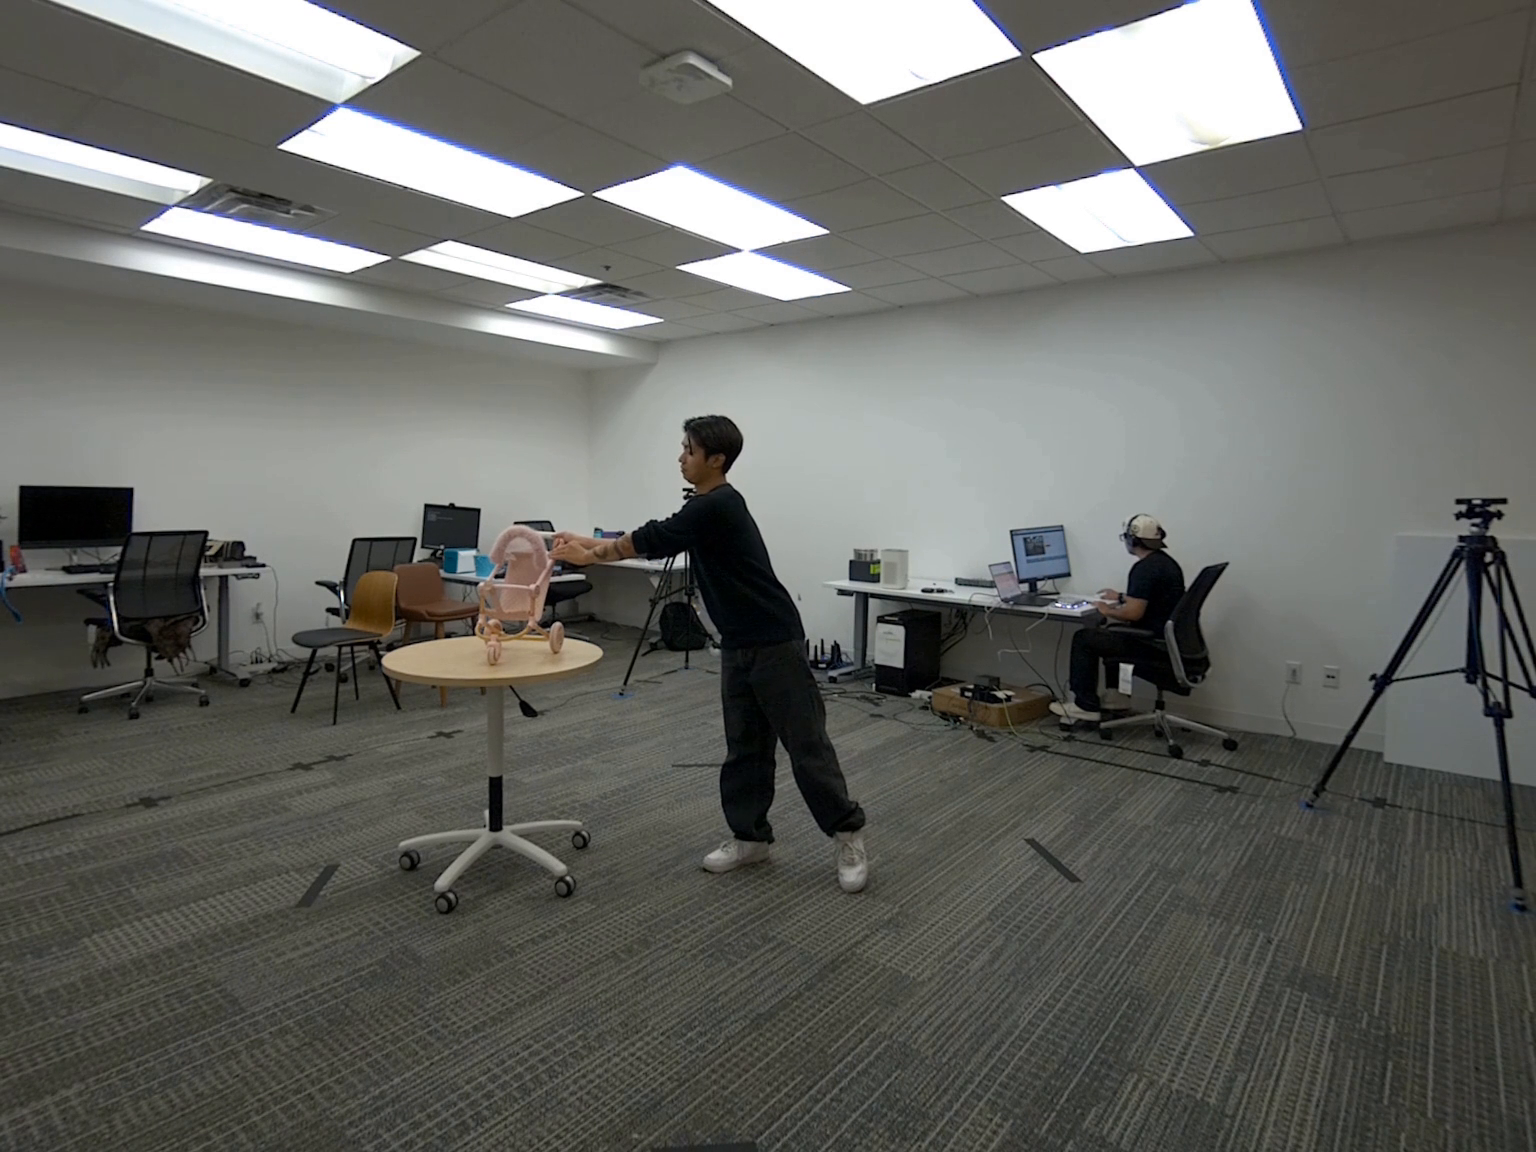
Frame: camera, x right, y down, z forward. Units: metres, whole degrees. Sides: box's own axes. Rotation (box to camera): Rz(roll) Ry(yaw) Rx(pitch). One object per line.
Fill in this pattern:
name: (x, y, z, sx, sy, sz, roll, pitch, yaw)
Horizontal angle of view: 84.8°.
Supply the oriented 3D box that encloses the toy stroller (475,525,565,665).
toy stroller: (-0.914, 0.056, 3.049, 0.286, 0.540, 0.332, 2, -12, 13)
